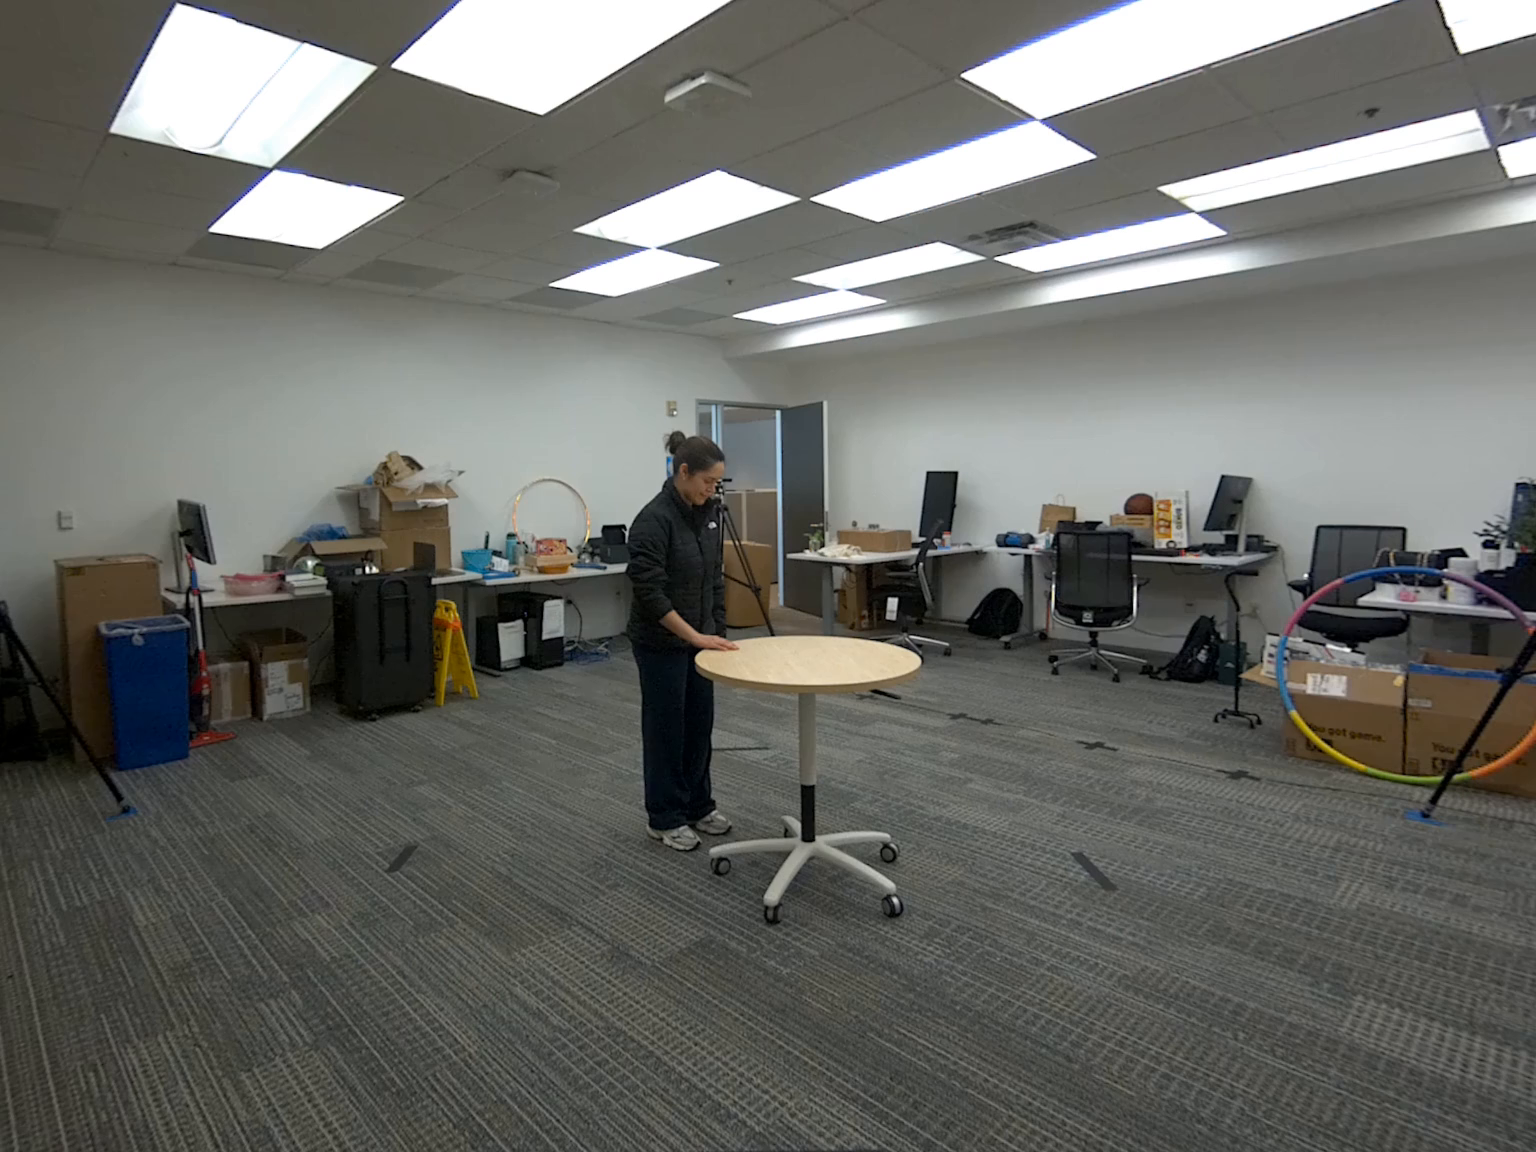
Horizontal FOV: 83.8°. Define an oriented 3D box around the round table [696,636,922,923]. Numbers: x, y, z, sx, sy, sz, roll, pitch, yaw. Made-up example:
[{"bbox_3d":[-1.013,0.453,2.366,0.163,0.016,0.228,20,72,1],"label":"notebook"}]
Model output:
[{"bbox_3d":[0.133,0.665,2.959,0.784,0.783,0.789,-1,5,-2],"label":"round table"}]
